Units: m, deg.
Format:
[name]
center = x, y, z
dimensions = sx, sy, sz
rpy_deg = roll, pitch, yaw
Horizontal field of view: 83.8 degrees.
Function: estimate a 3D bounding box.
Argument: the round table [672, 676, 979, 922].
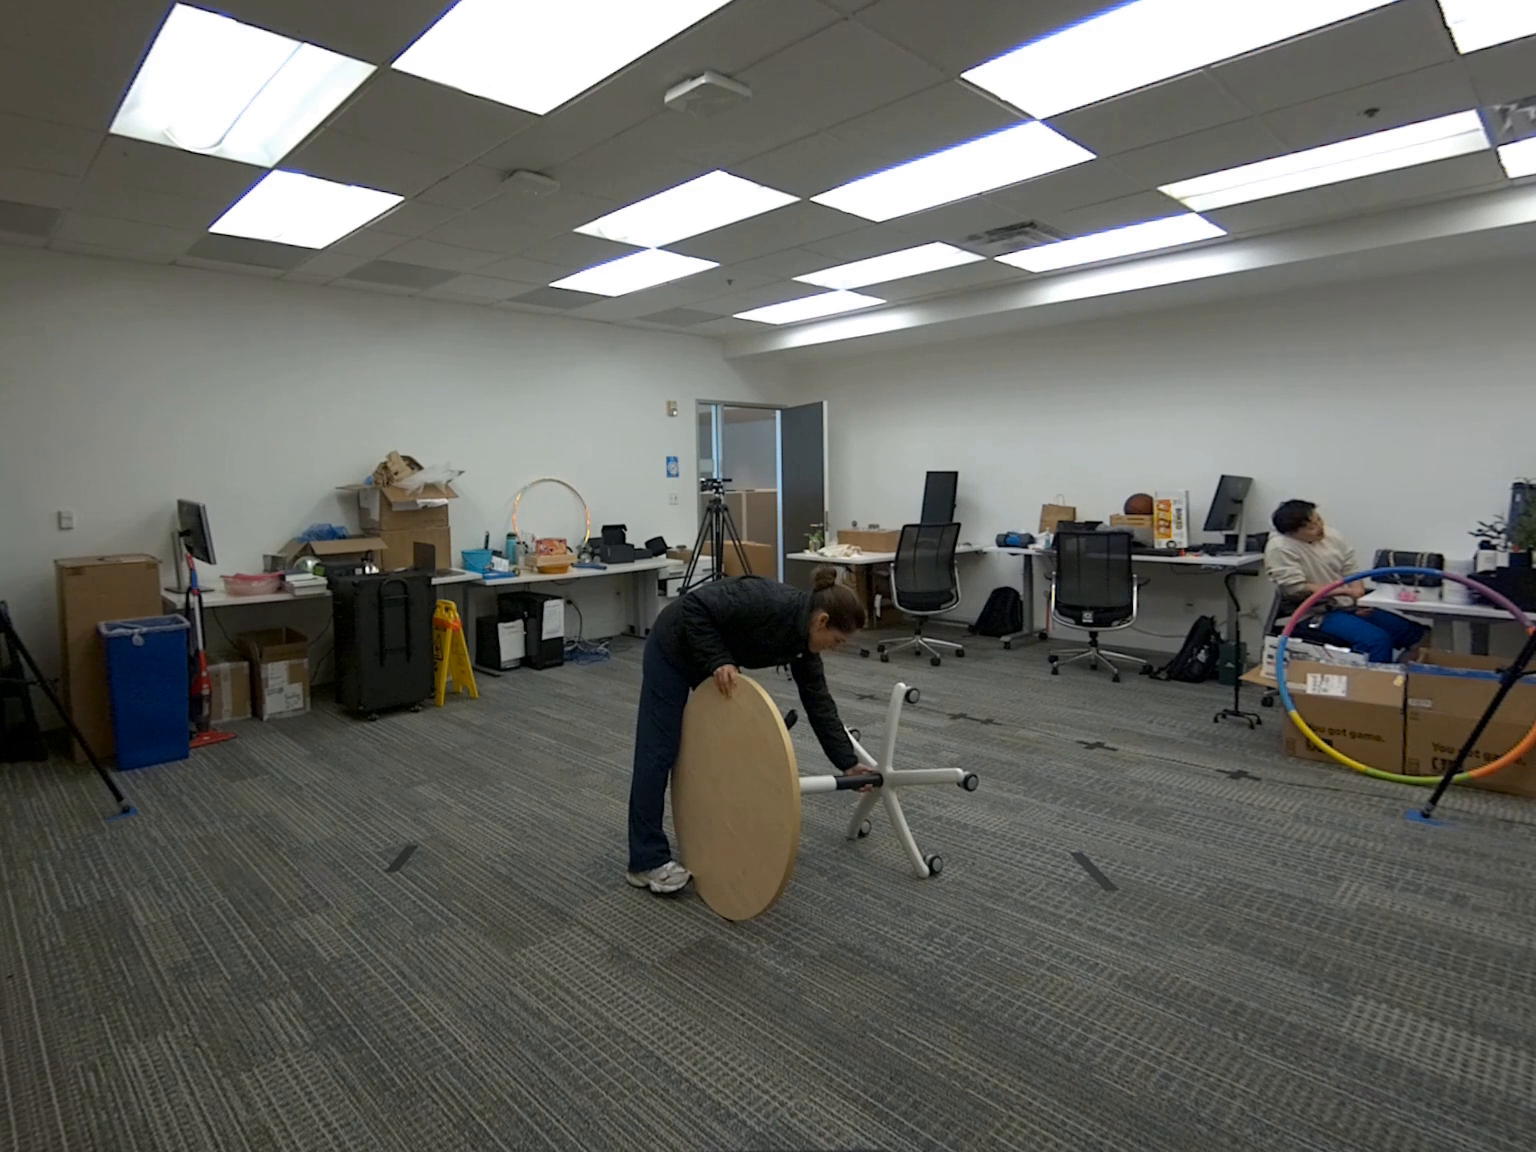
[round table]
center = 0.183, 0.716, 2.995
dimensions = 0.764, 0.785, 0.808
rpy_deg = 4, 1, -35
